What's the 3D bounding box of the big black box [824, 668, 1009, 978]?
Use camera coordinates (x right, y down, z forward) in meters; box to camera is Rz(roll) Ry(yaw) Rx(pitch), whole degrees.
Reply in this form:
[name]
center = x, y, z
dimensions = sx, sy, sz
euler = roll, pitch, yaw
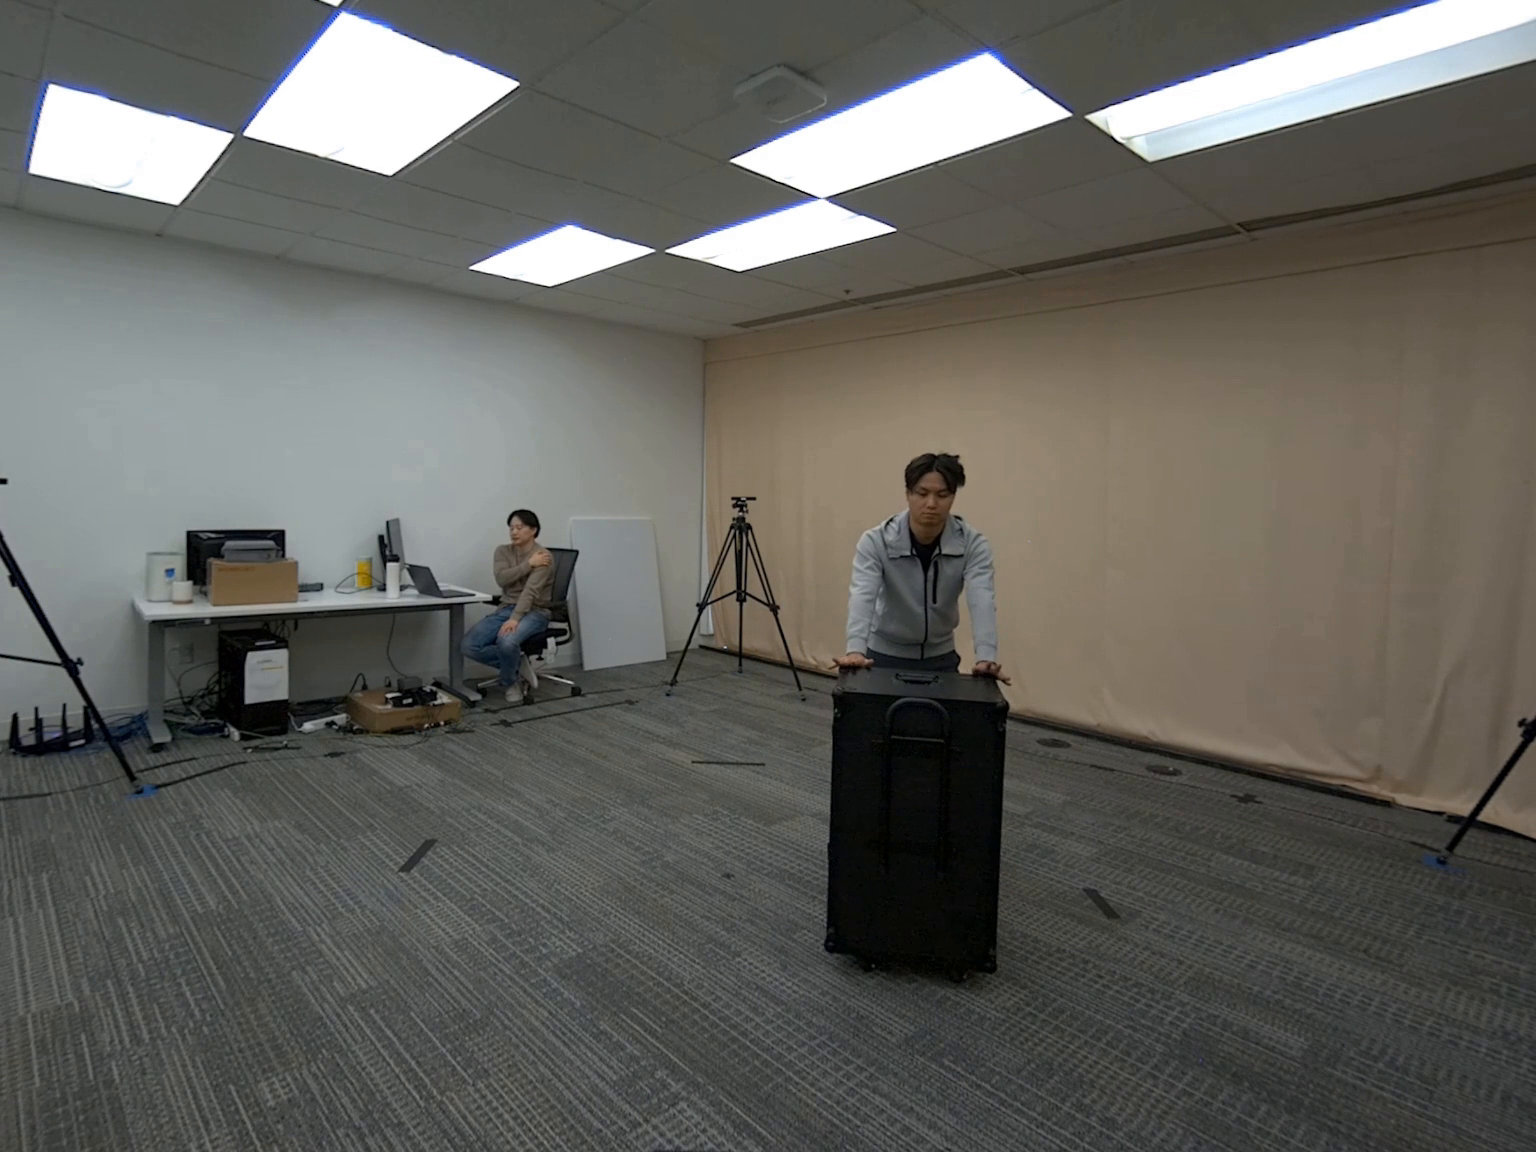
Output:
[big black box]
center = 0.441, 0.753, 2.555
dimensions = 0.526, 0.859, 0.393
euler = 2, 4, 11
